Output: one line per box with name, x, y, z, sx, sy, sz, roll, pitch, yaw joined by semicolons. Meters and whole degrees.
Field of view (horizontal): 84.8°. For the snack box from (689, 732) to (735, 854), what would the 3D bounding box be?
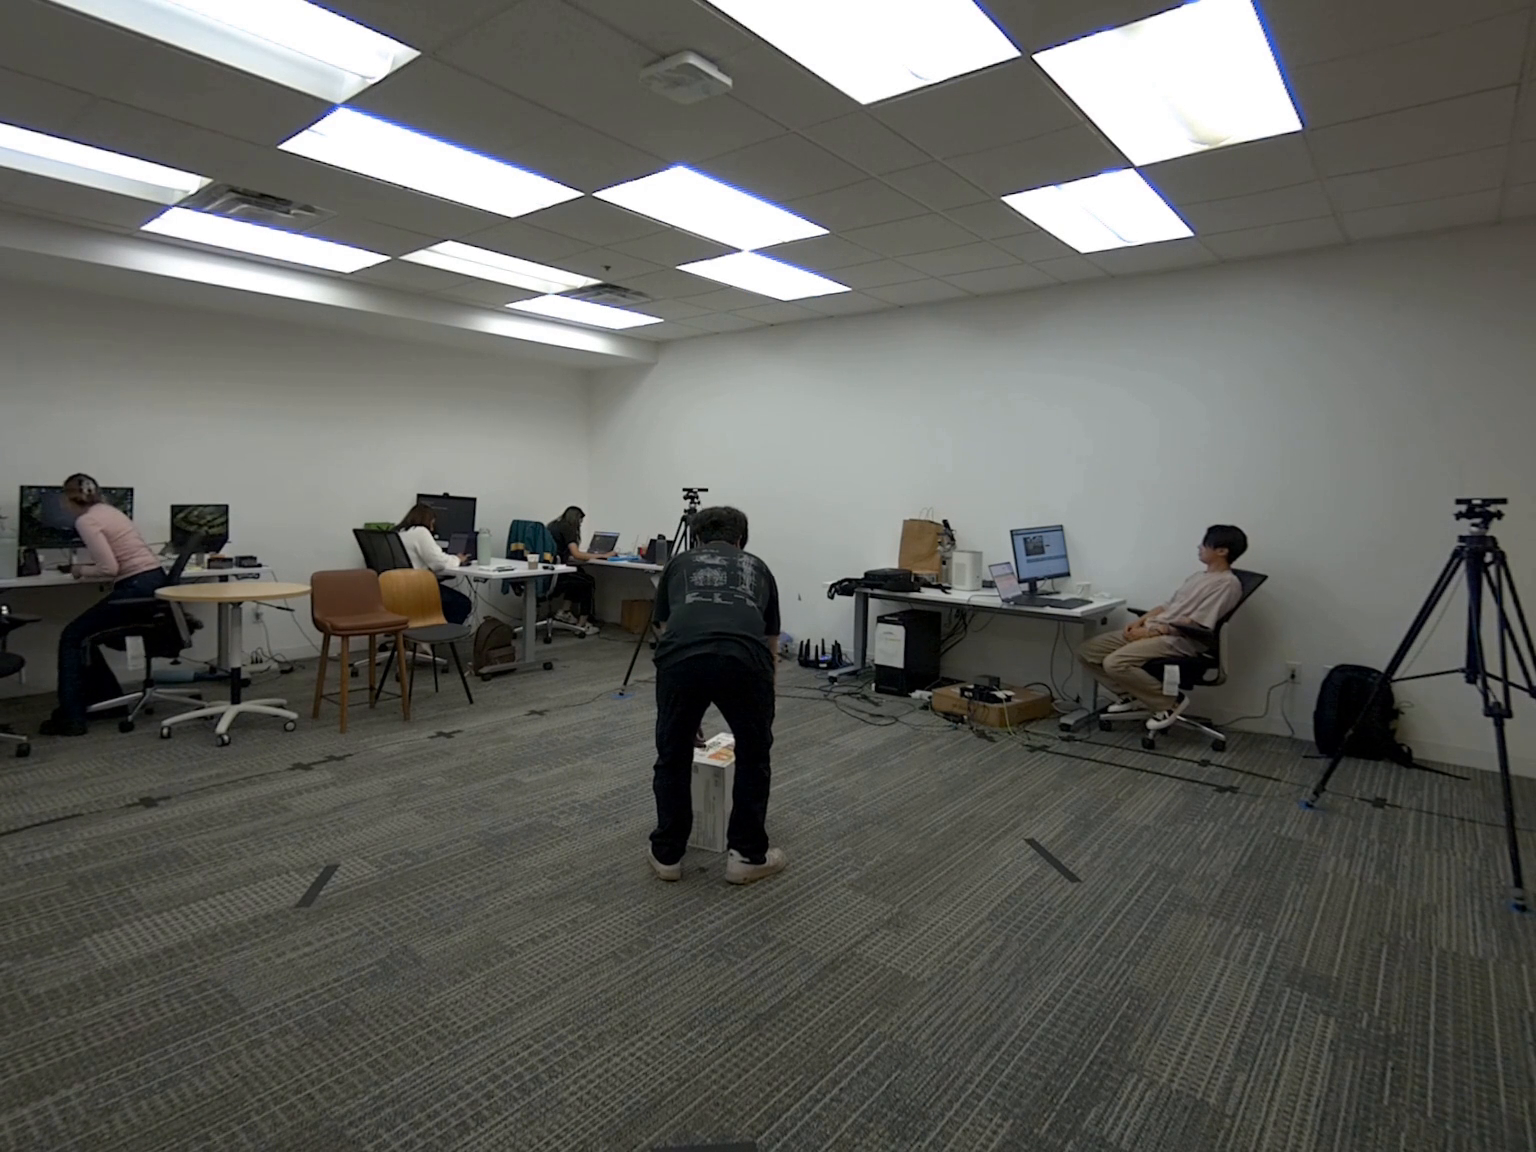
snack box;-0.193;0.862;3.459;0.211;0.339;0.397;3;5;23
